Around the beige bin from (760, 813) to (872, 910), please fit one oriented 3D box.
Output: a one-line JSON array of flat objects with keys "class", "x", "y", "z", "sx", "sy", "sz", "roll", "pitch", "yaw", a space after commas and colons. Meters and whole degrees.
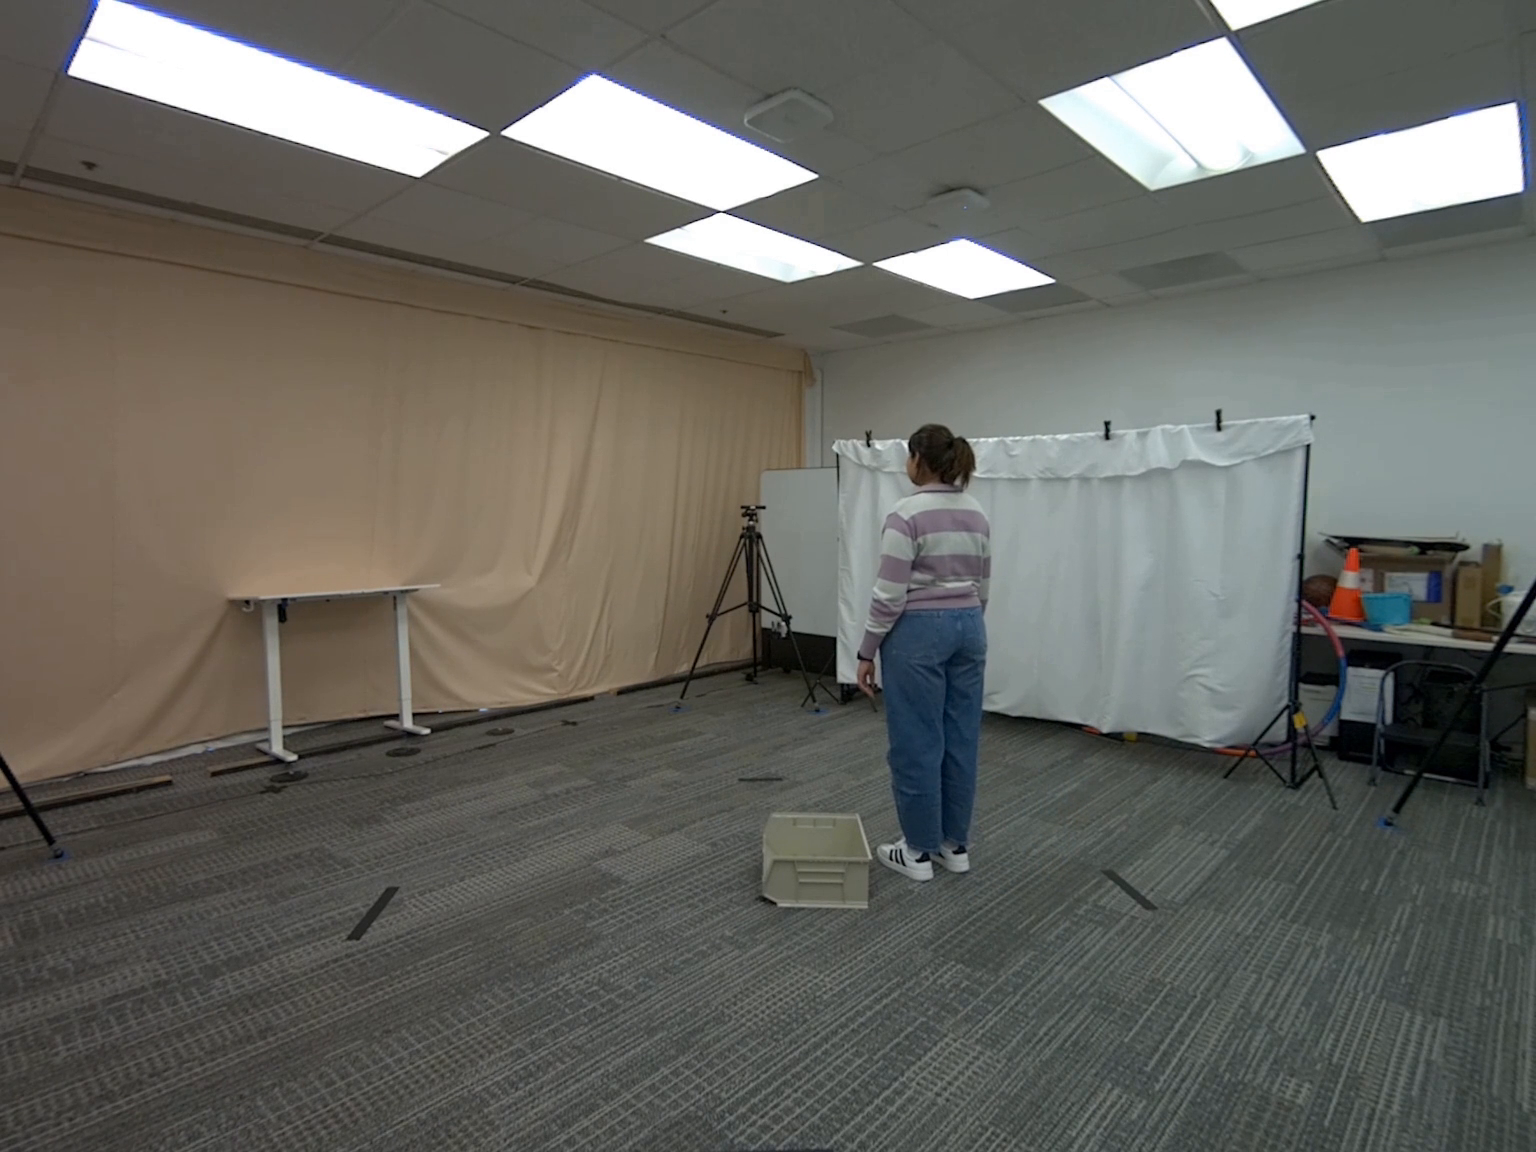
[{"class": "beige bin", "x": 0.172, "y": 1.040, "z": 3.114, "sx": 0.378, "sy": 0.188, "sz": 0.422, "roll": 1, "pitch": 5, "yaw": 1}]
